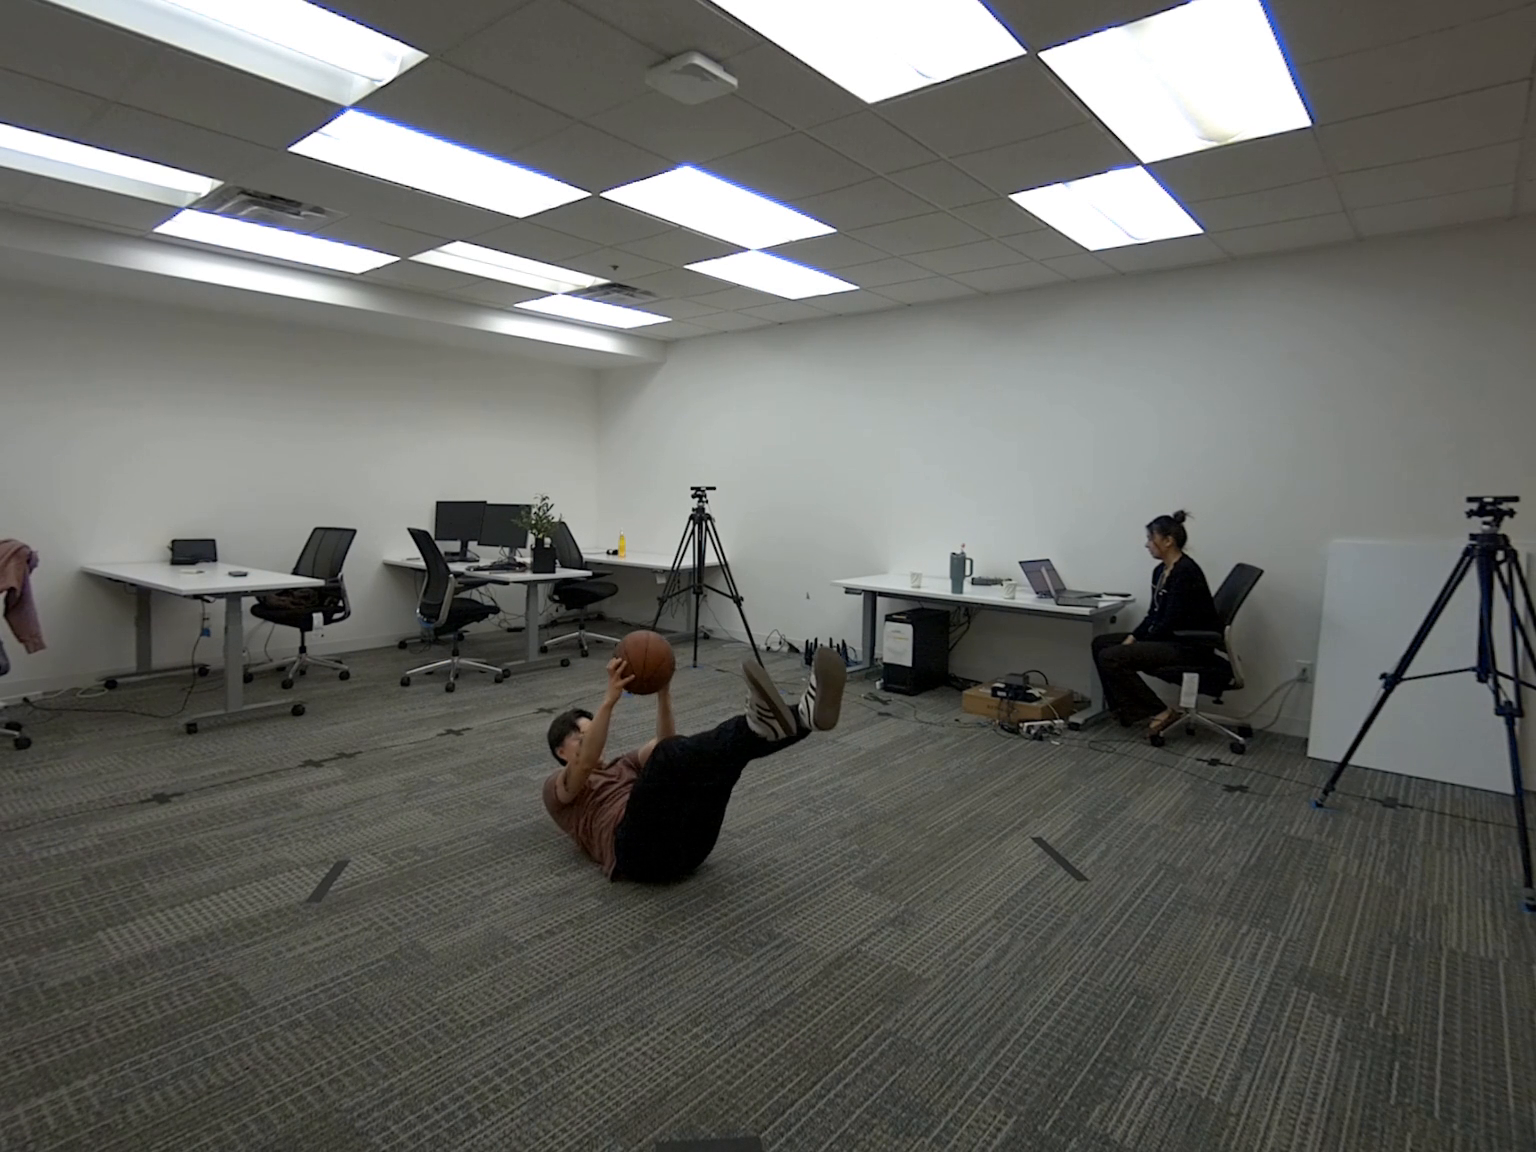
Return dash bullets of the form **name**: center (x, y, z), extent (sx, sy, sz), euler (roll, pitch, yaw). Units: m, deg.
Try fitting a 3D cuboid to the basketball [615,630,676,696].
- **basketball**: center (-0.479, 0.319, 3.144), extent (0.235, 0.235, 0.237), euler (1, 5, -2)
